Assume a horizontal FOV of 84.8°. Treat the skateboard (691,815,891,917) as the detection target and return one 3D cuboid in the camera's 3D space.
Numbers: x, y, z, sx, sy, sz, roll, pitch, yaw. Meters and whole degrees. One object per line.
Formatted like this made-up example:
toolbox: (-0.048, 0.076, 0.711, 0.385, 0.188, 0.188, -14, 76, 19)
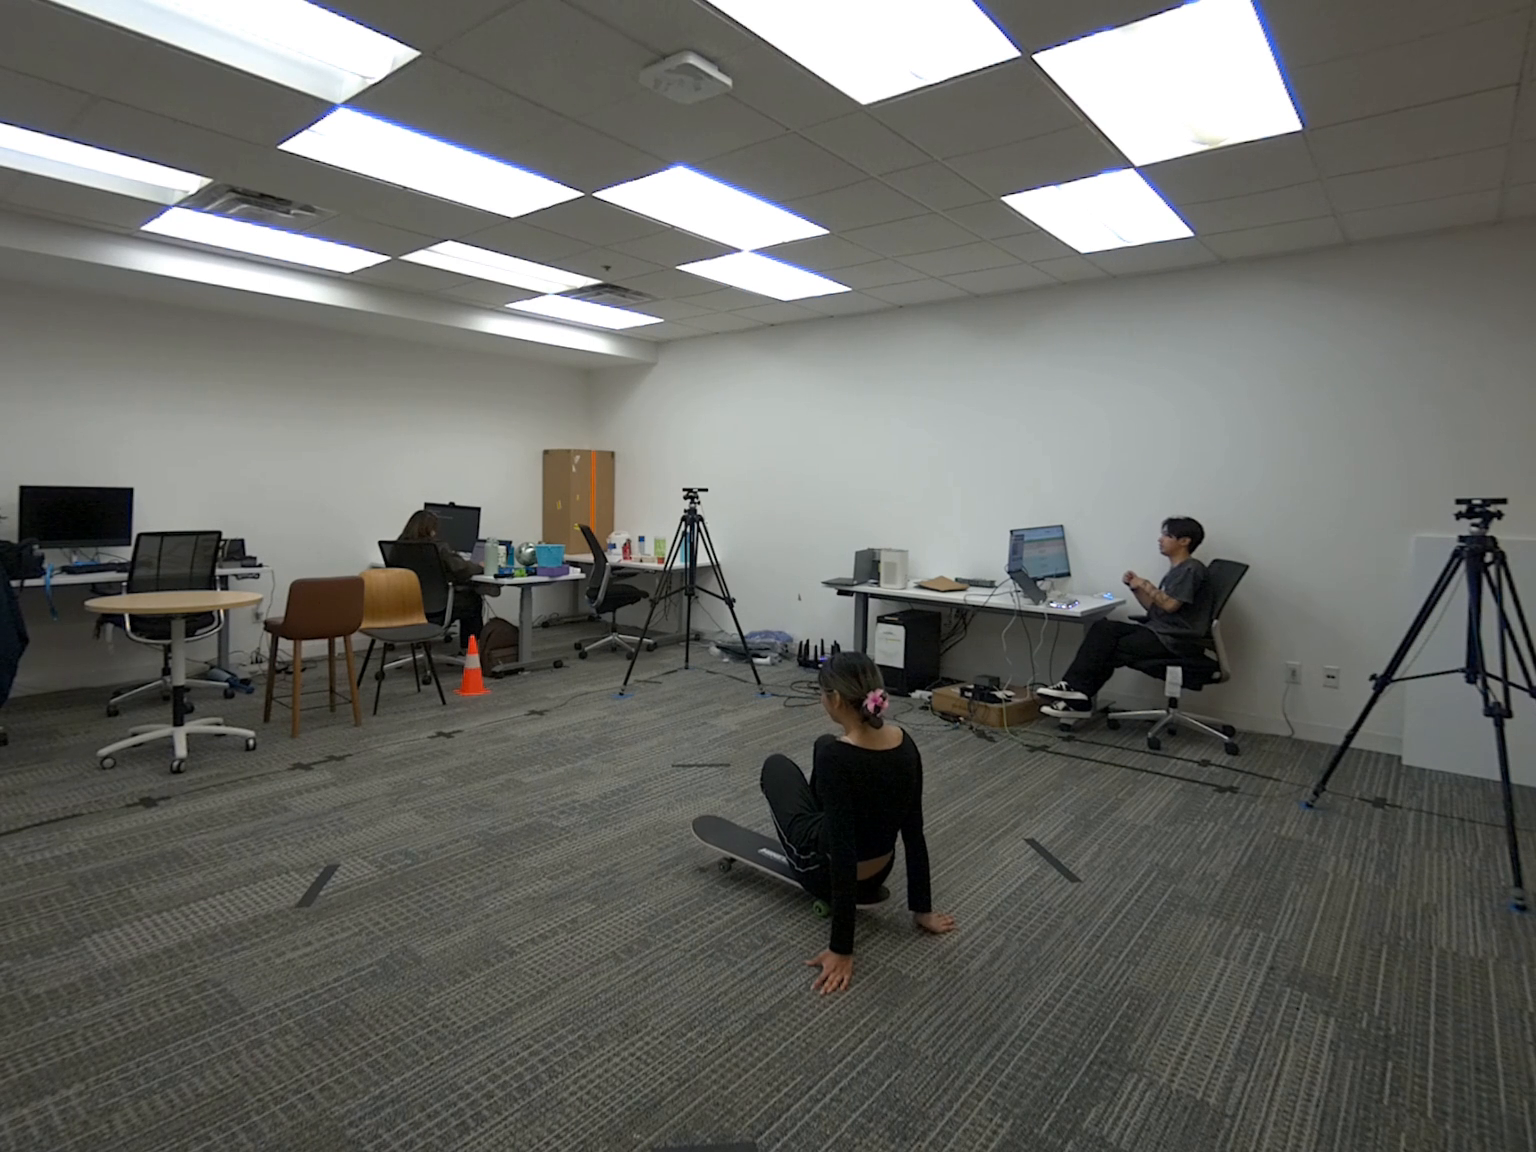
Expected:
skateboard: (0.047, 1.026, 2.965, 0.813, 0.109, 0.188, 11, 13, 35)
